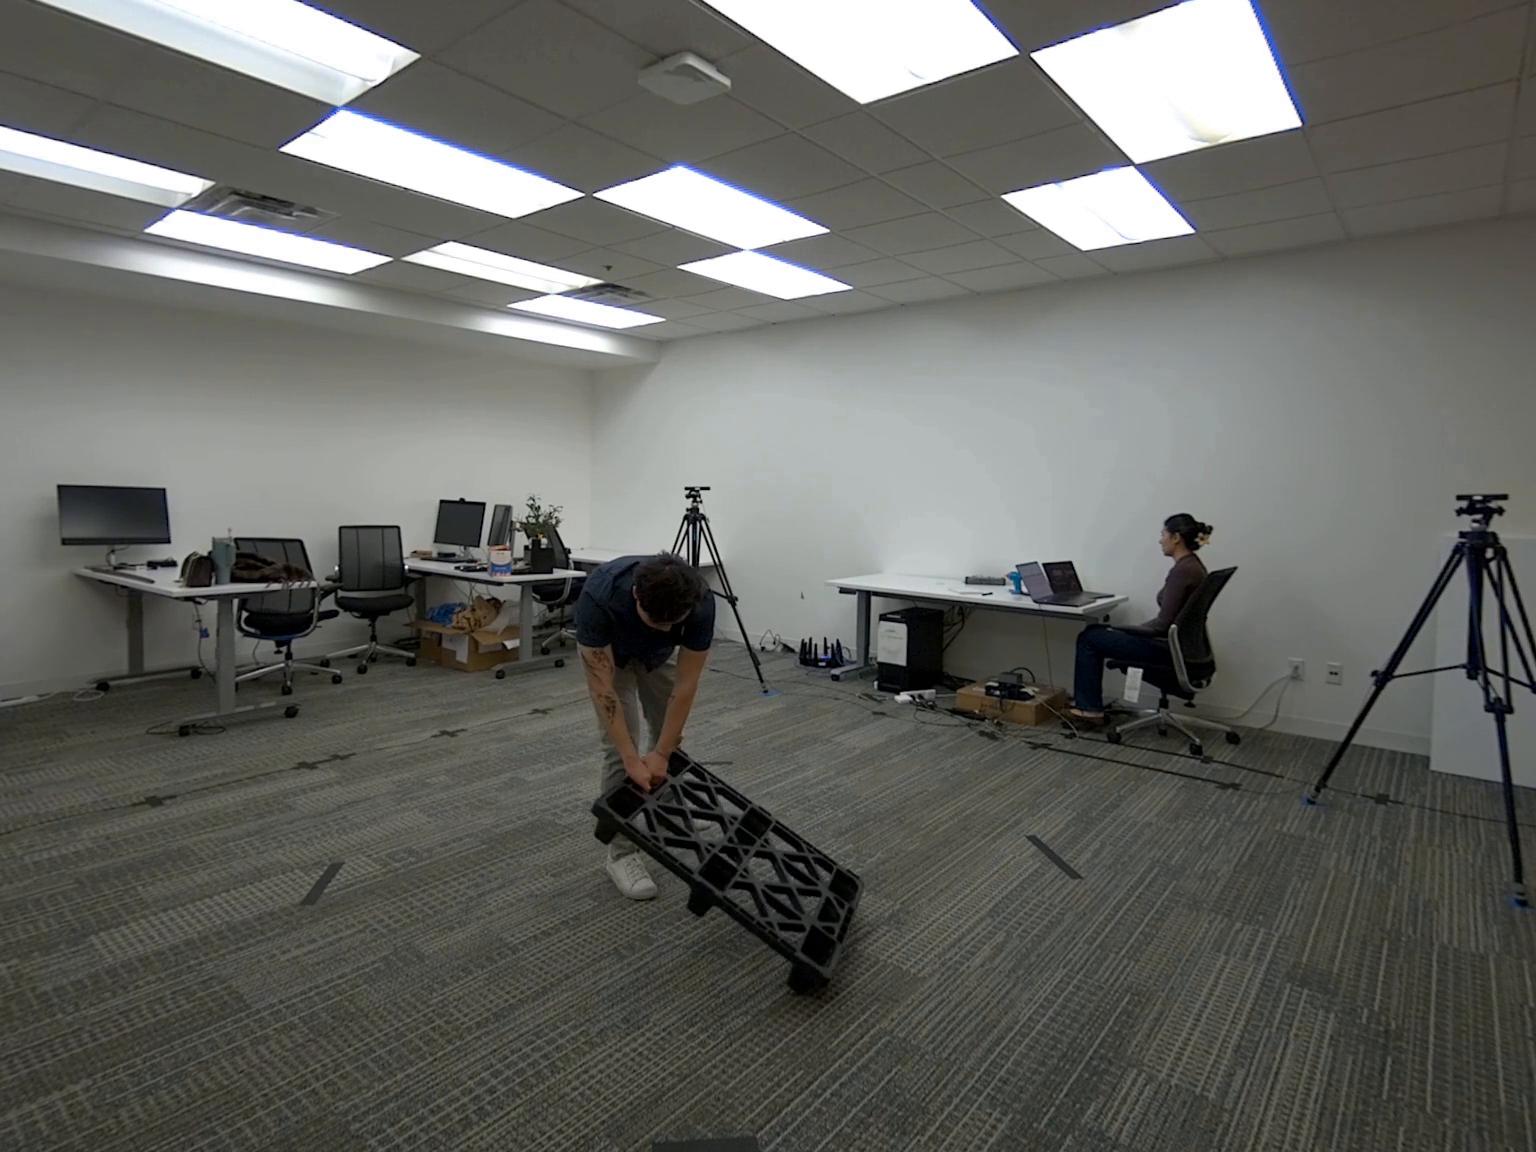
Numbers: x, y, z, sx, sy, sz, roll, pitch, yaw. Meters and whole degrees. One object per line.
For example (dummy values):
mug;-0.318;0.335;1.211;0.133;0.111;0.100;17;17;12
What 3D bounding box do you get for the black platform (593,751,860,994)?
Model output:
black platform;-0.131;0.878;2.640;0.821;0.143;0.596;32;12;13
